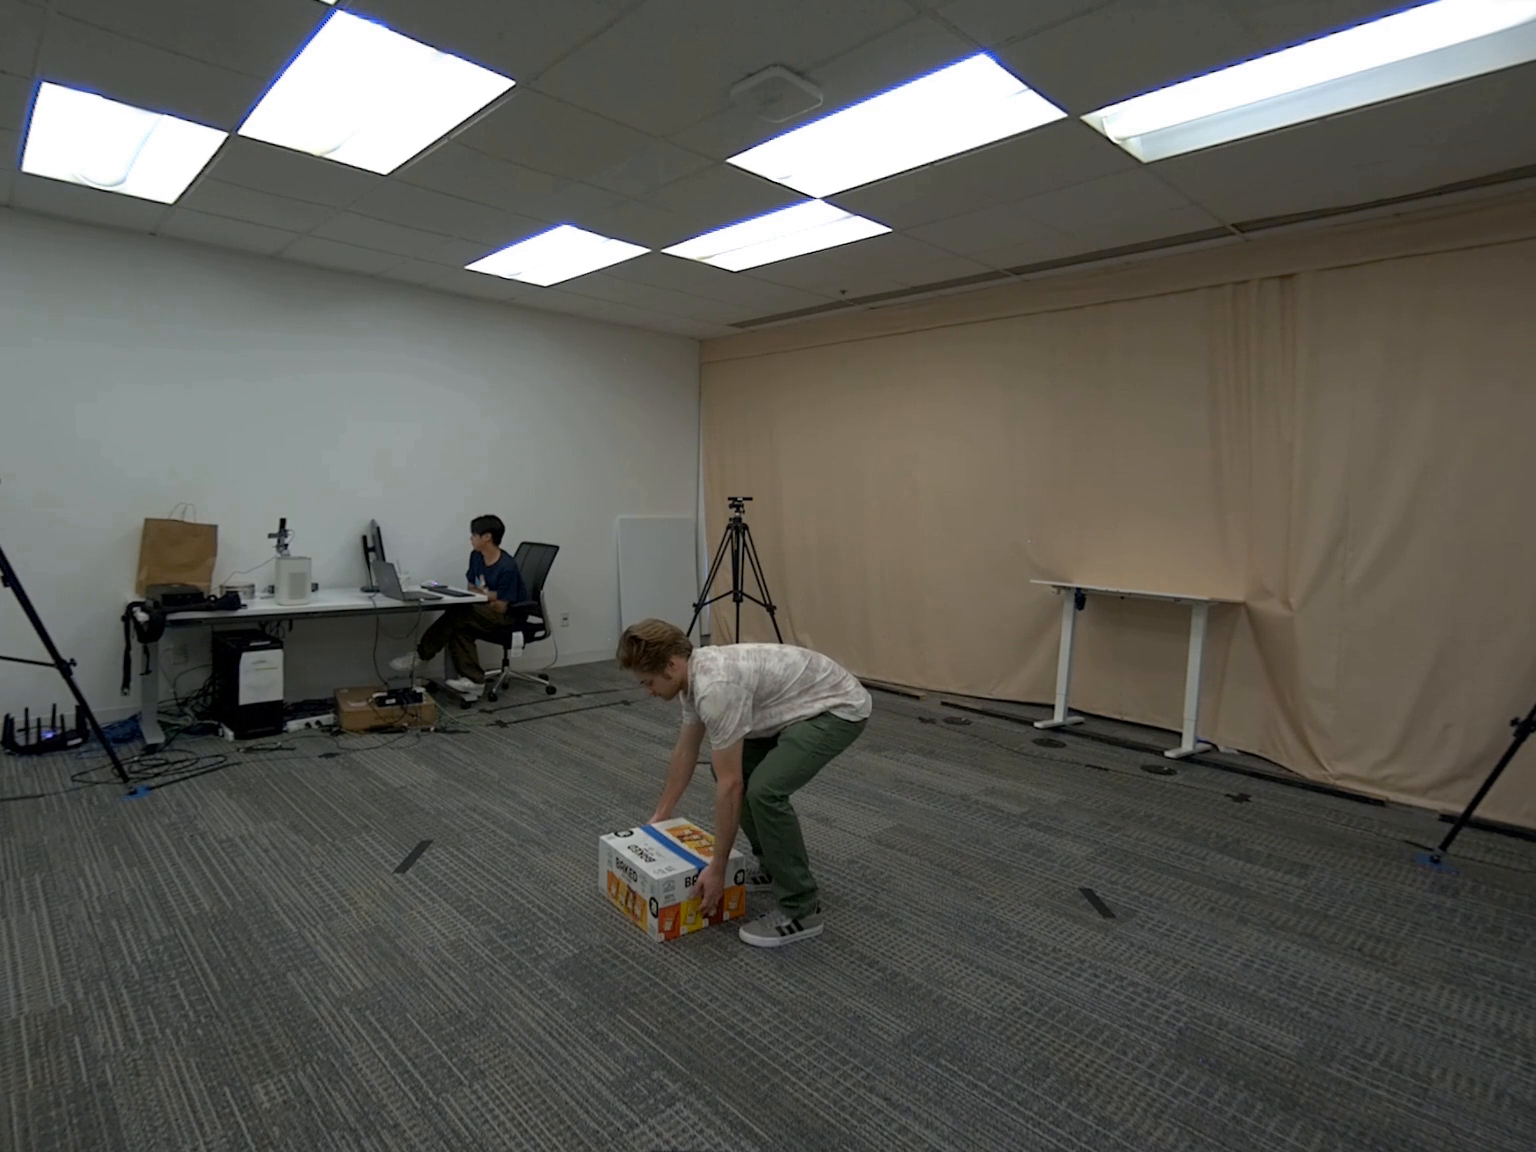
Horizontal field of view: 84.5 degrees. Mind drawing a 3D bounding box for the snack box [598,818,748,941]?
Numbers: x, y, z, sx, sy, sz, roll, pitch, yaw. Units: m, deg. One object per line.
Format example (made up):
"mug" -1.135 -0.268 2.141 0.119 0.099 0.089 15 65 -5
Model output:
"snack box" -0.341 1.024 2.874 0.333 0.205 0.415 -2 6 -36
